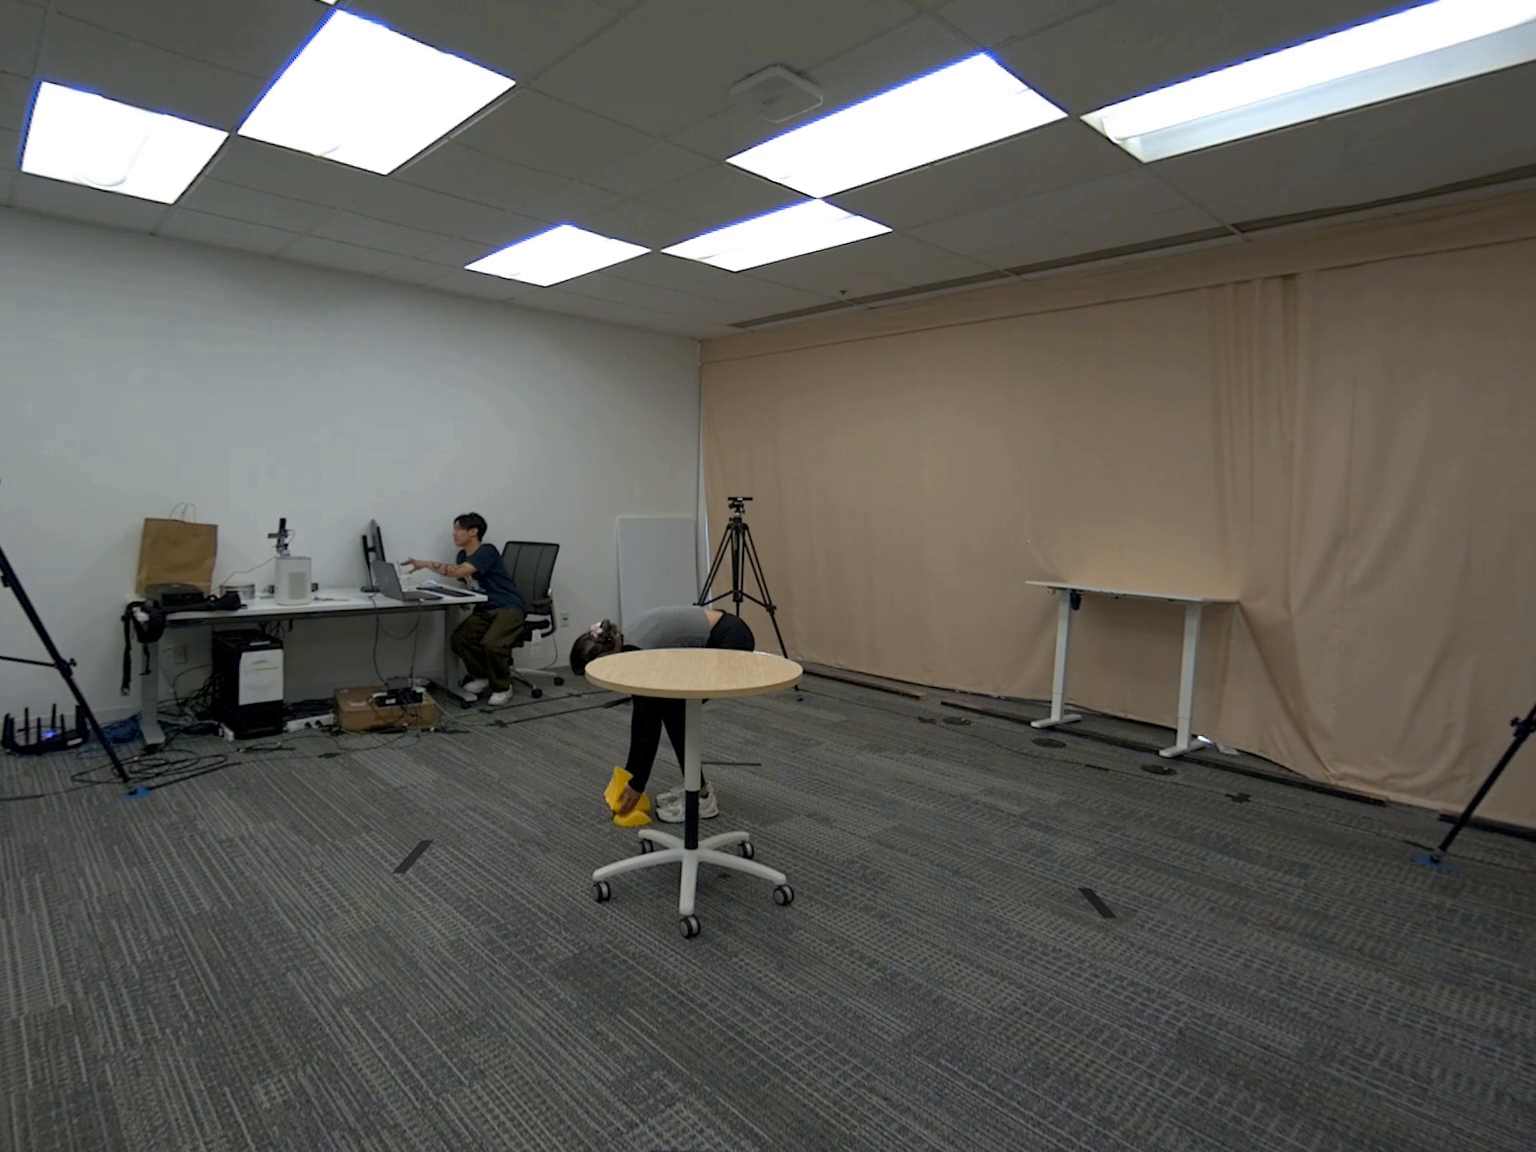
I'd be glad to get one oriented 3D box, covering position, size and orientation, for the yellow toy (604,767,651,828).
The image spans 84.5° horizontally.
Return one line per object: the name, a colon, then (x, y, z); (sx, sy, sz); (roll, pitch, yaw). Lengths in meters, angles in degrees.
yellow toy: (-0.610, 0.934, 3.653); (0.190, 0.230, 0.208); (1, 1, -18)
